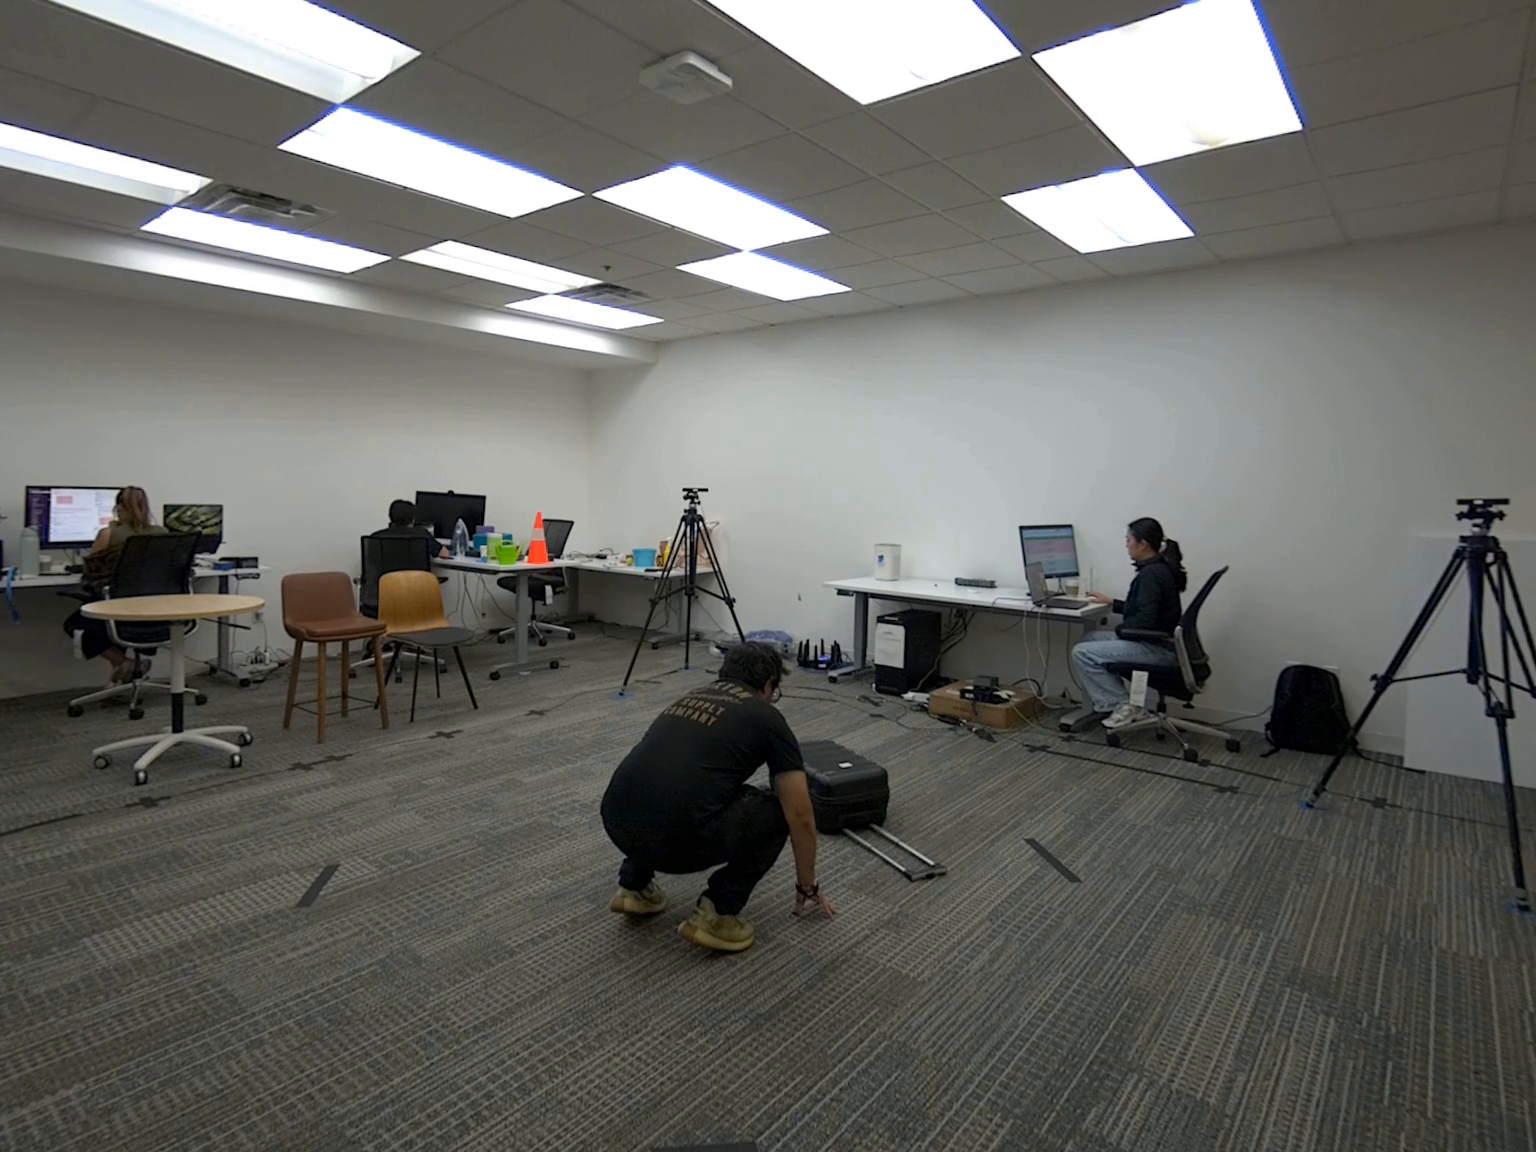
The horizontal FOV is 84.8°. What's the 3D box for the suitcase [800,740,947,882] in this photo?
[{"bbox_3d":[0.340,0.915,3.521,0.374,0.256,1.006,0,4,-28],"label":"suitcase"}]
